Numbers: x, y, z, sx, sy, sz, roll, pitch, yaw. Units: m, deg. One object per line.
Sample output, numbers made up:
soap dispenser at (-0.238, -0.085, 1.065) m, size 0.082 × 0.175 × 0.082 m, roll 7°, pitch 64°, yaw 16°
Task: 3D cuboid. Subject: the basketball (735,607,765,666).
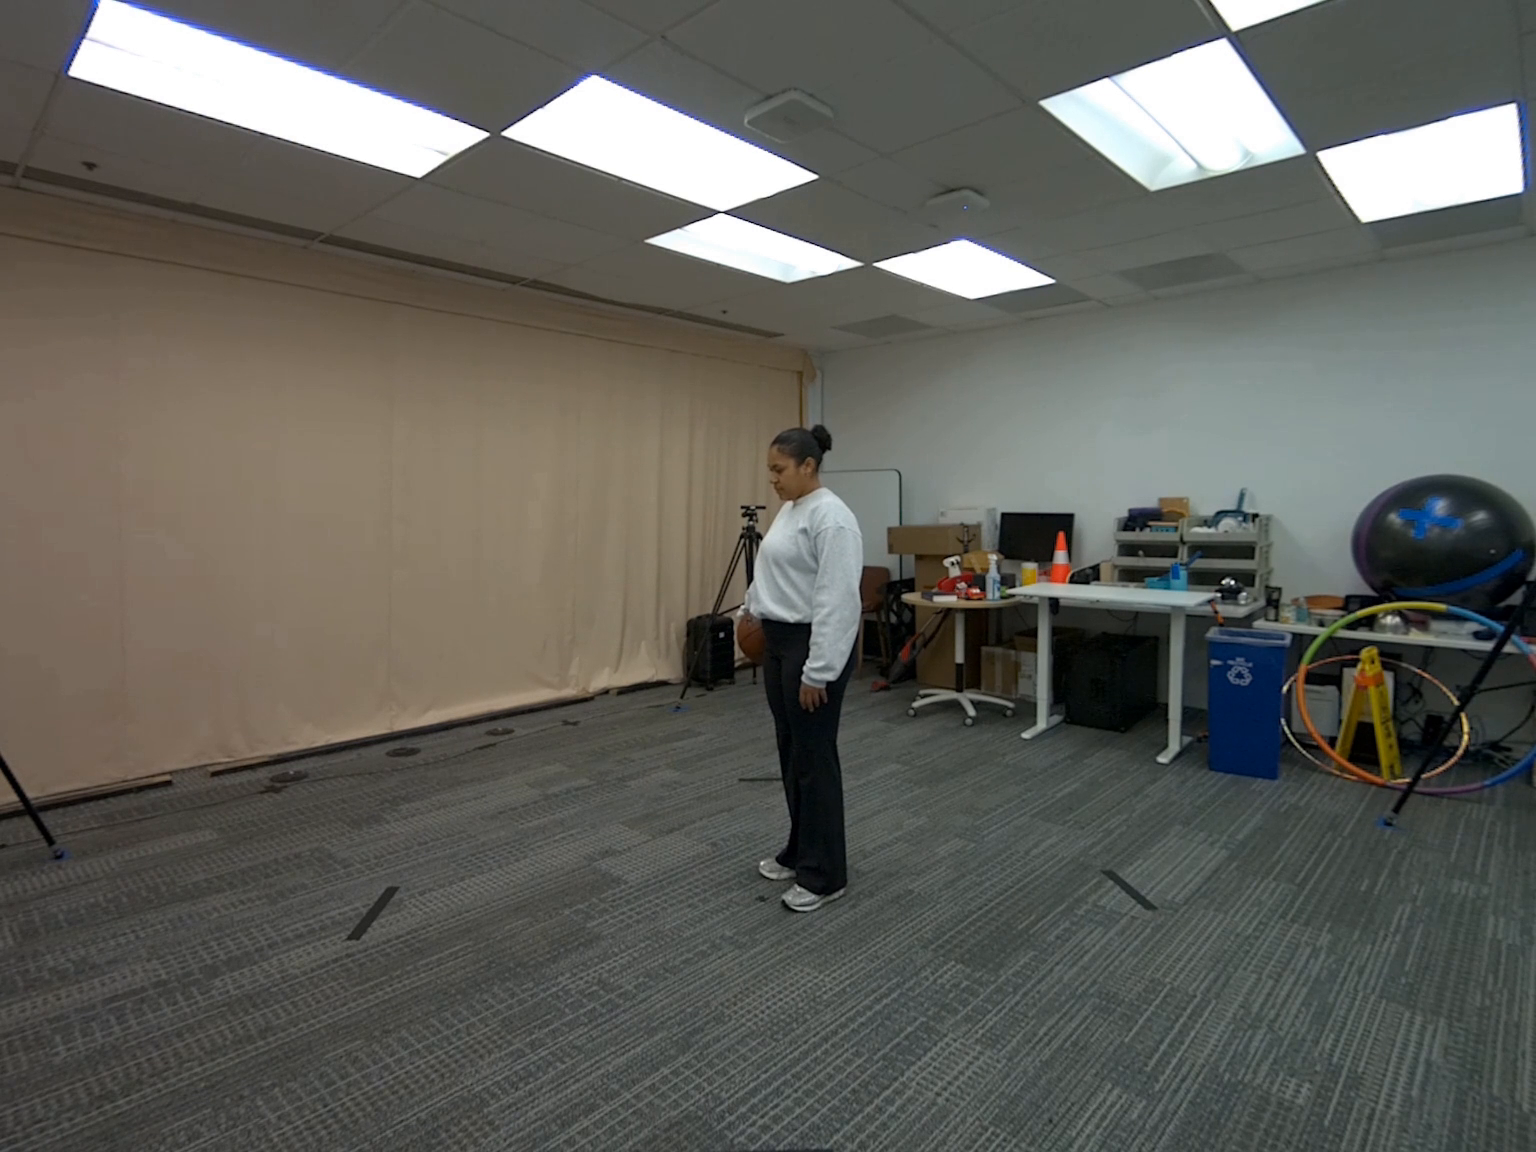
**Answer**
basketball at (-0.001, 0.227, 3.300) m, size 0.236 × 0.235 × 0.237 m, roll 0°, pitch 4°, yaw -2°
